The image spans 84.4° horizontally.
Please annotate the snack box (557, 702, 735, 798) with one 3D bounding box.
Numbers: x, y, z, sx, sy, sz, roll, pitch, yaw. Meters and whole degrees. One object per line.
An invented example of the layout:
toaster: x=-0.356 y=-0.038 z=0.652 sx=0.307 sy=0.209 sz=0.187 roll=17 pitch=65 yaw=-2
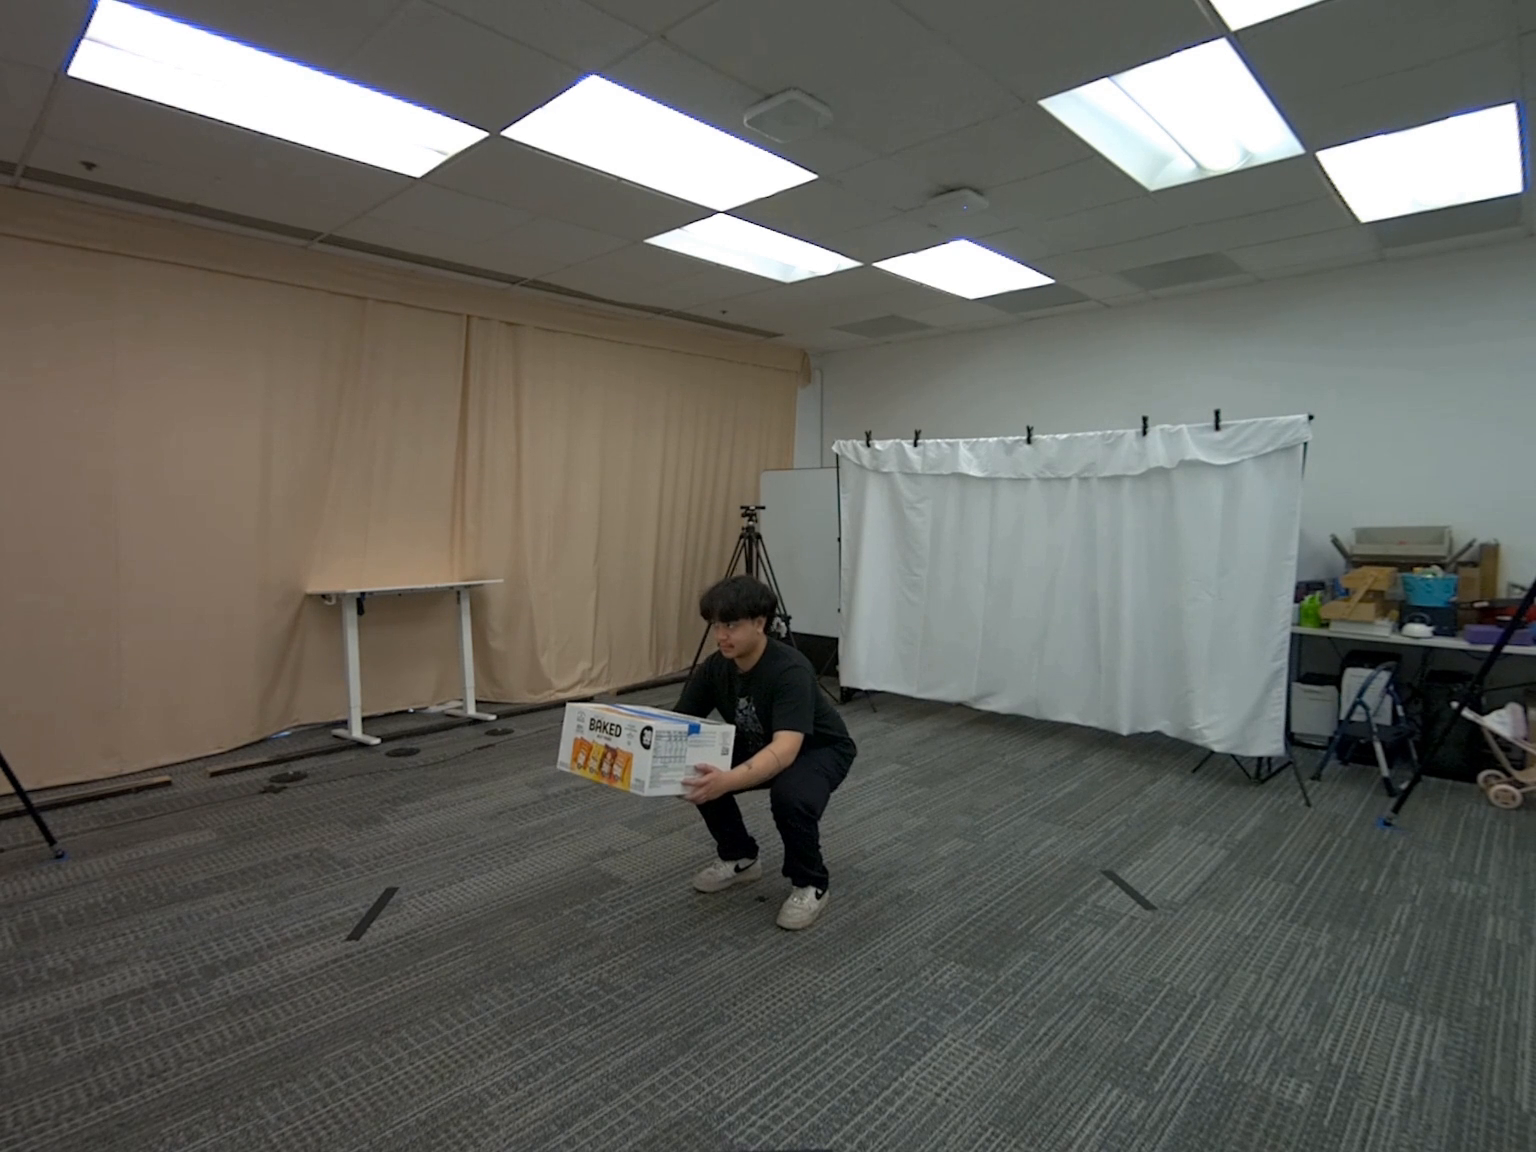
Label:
snack box: x=-0.367 y=0.521 z=2.569 sx=0.418 sy=0.206 sz=0.328 roll=2 pitch=-7 yaw=42
